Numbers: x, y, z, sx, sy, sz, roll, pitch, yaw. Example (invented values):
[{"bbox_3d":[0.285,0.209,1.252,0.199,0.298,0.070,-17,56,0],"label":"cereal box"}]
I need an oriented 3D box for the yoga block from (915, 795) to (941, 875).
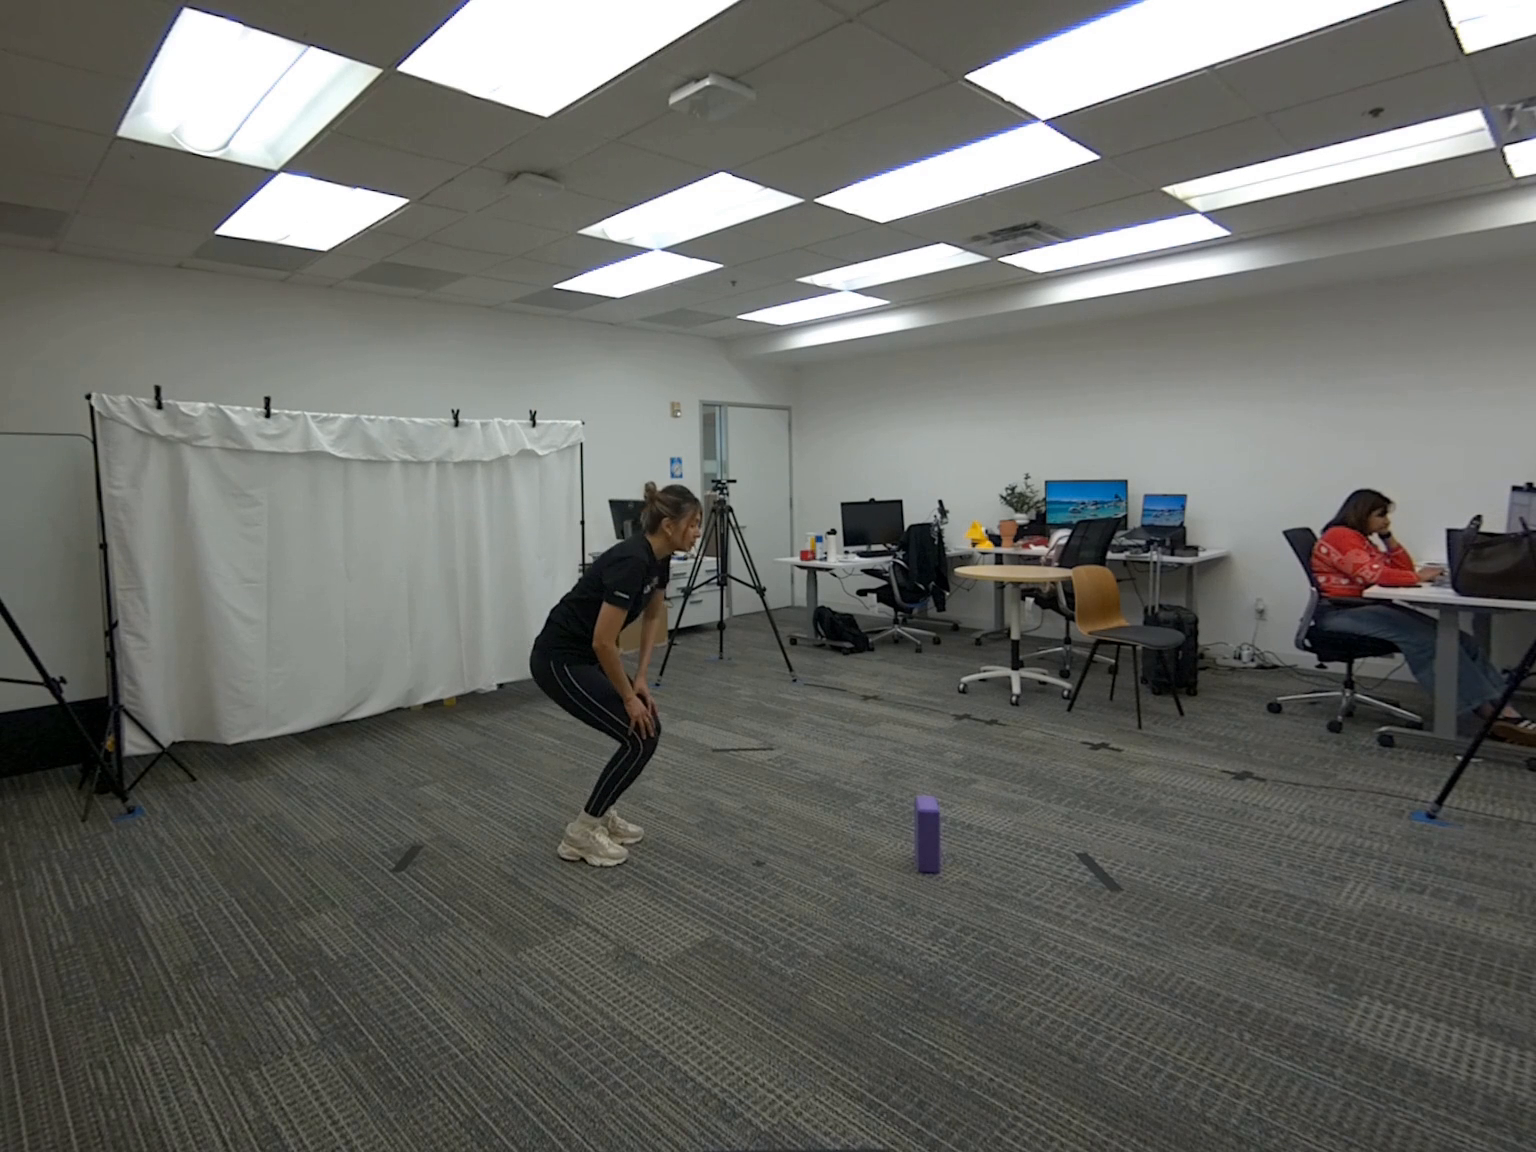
[{"bbox_3d":[0.570,0.921,3.064,0.077,0.229,0.148,0,3,5],"label":"yoga block"}]
